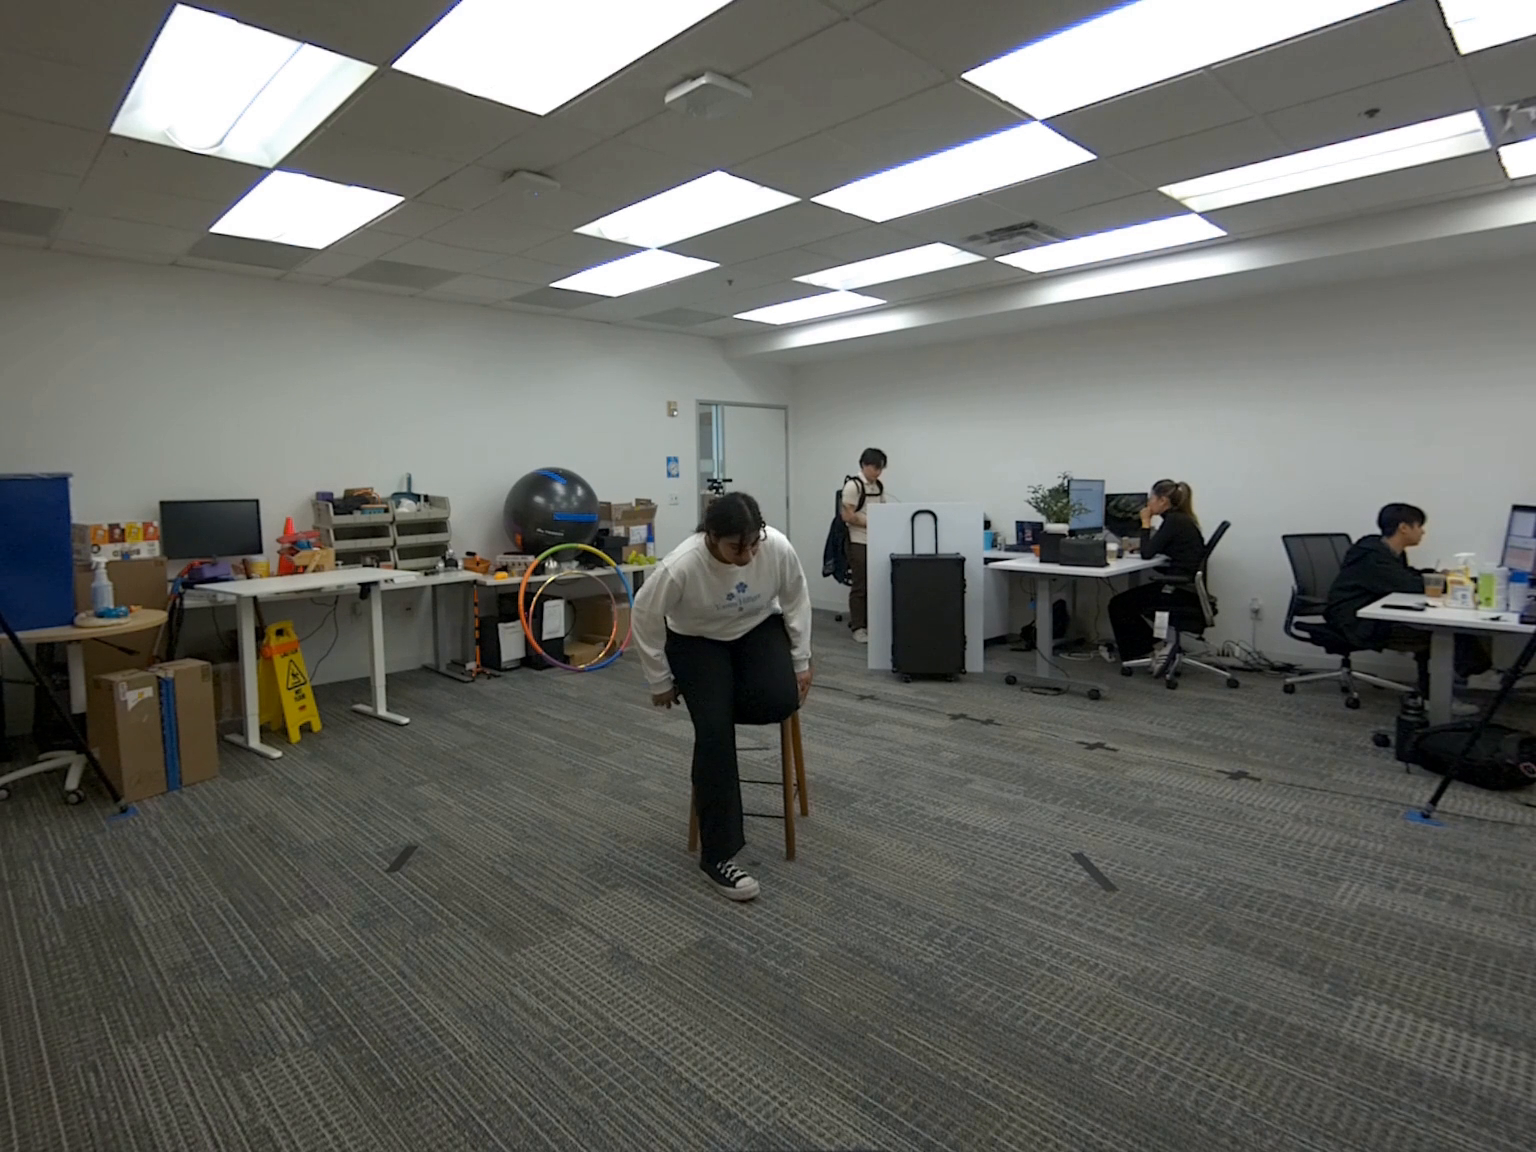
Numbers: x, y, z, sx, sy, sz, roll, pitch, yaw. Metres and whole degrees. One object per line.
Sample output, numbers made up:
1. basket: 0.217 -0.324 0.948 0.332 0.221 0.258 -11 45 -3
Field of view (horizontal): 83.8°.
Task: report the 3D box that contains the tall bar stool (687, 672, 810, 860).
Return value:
1. tall bar stool: -0.054 0.583 3.372 0.463 0.888 0.462 0 2 13
